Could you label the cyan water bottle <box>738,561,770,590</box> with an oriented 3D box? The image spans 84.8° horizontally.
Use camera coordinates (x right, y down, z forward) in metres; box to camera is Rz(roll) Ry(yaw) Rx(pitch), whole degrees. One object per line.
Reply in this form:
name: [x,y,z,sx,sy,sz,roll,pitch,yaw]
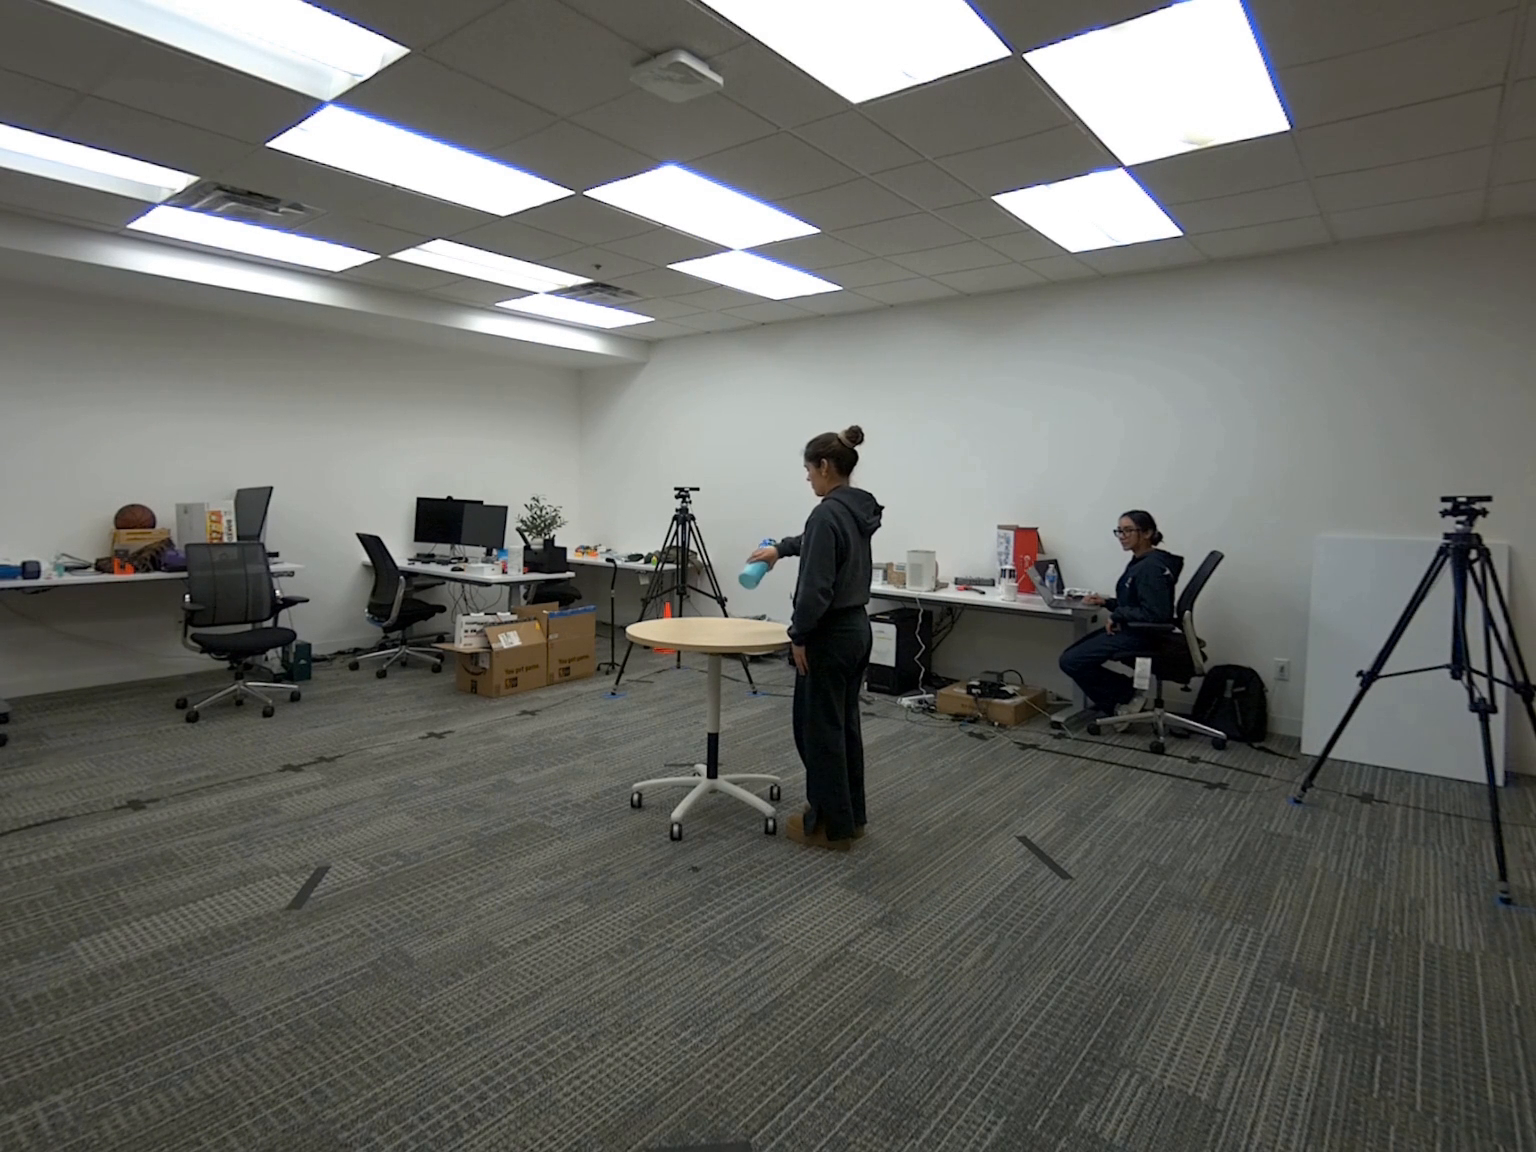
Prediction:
cyan water bottle: [-0.033,-0.066,3.720,0.095,0.089,0.285,2,38,28]
